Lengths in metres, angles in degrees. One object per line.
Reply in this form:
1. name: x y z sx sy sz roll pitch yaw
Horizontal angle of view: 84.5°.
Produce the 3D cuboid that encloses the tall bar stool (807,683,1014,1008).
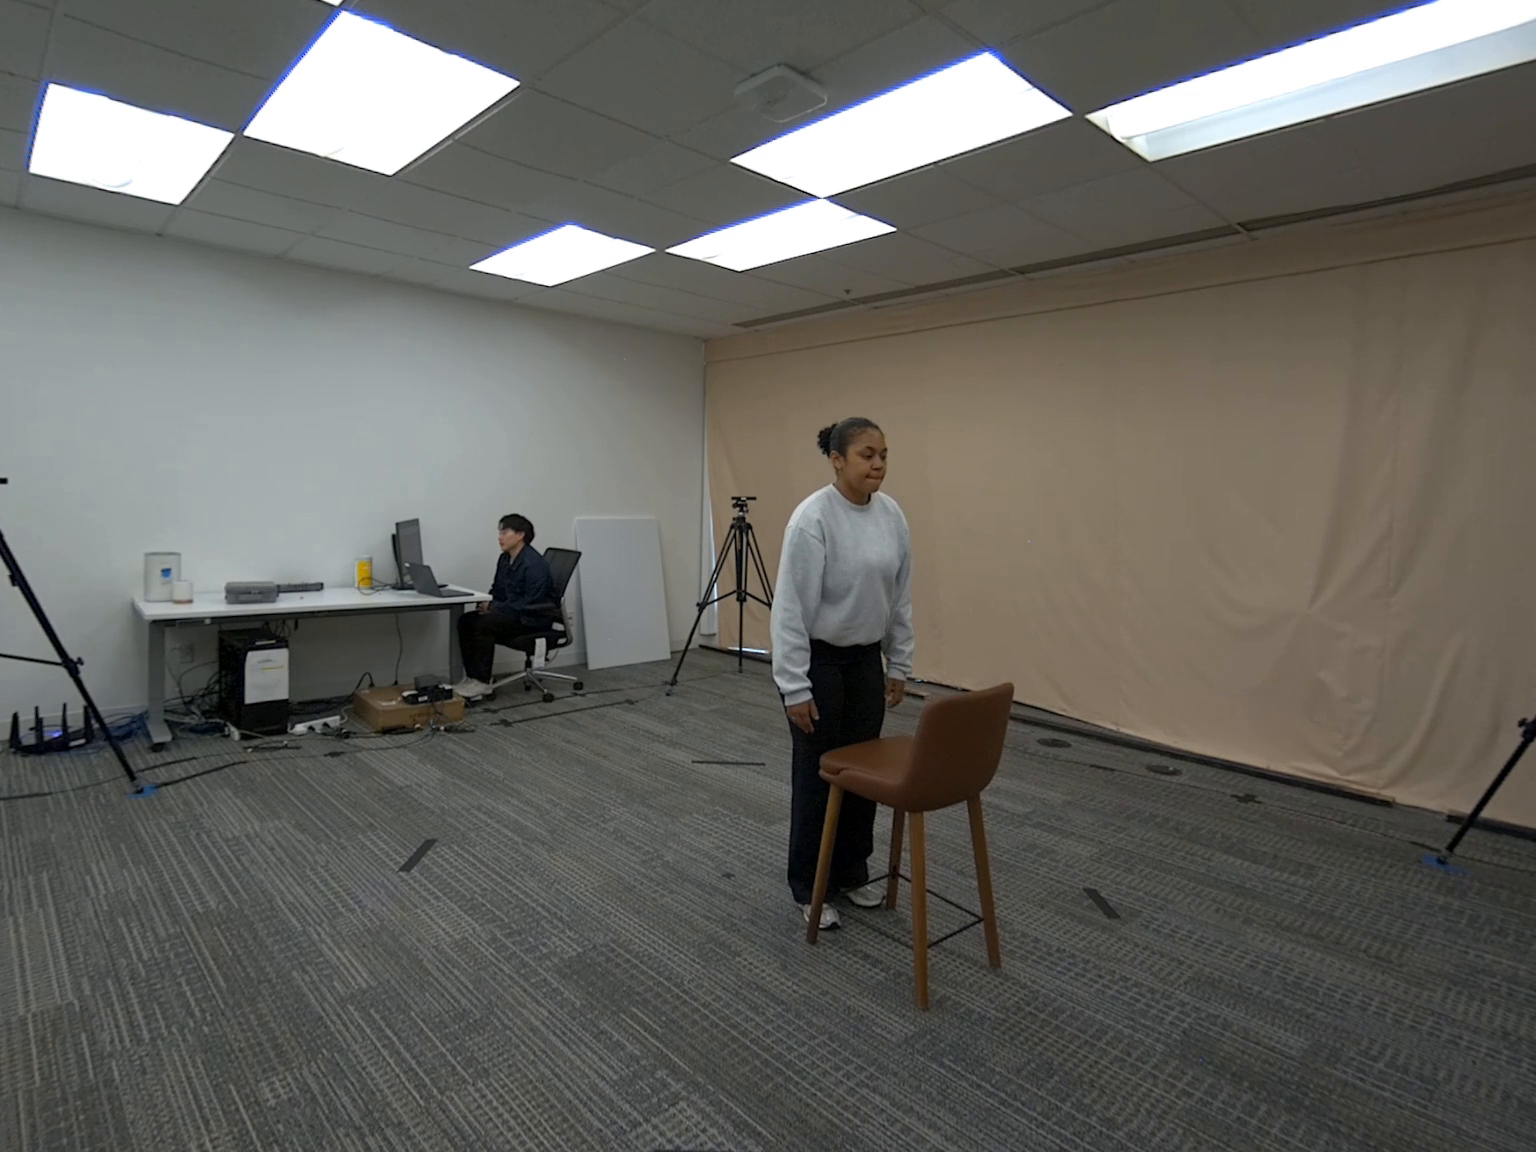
1. tall bar stool: 0.429 0.727 2.566 0.446 0.886 0.480 -2 7 -40
